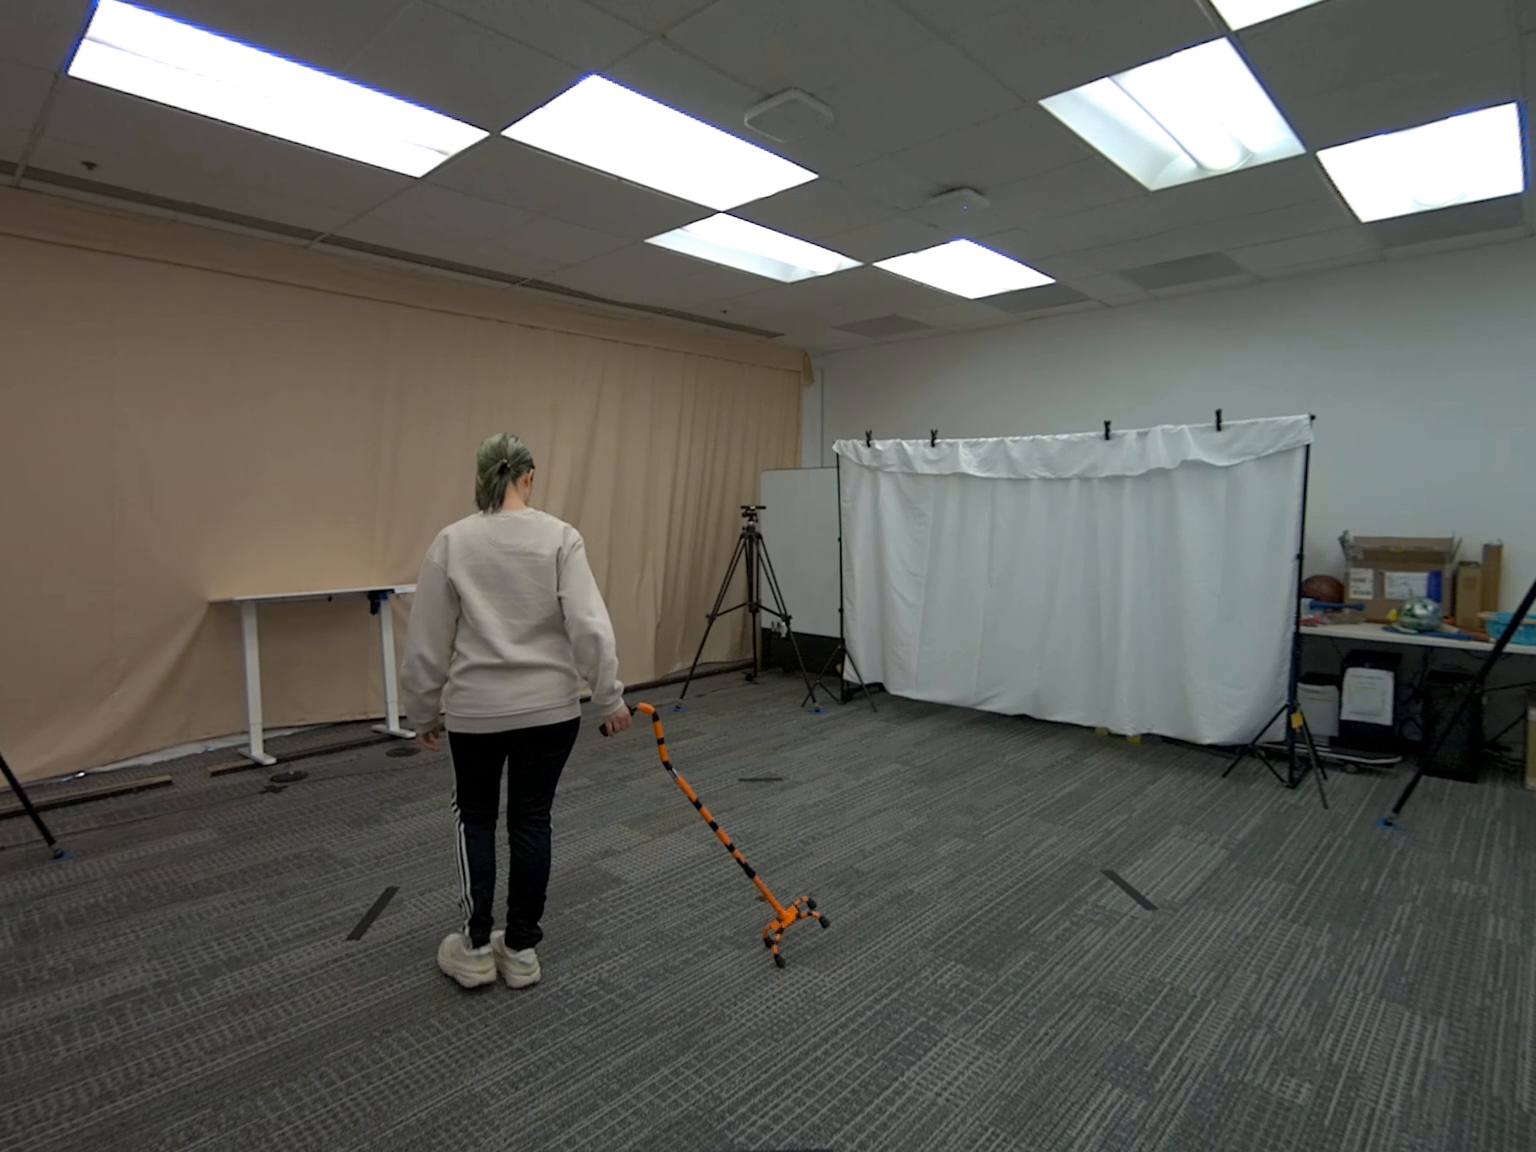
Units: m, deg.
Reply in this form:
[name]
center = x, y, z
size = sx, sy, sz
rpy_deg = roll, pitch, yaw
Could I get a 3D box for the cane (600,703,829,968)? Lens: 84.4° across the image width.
[cane]
center = -0.162, 0.768, 2.545
size = 0.205, 0.898, 0.154
rpy_deg = -38, 9, -9
